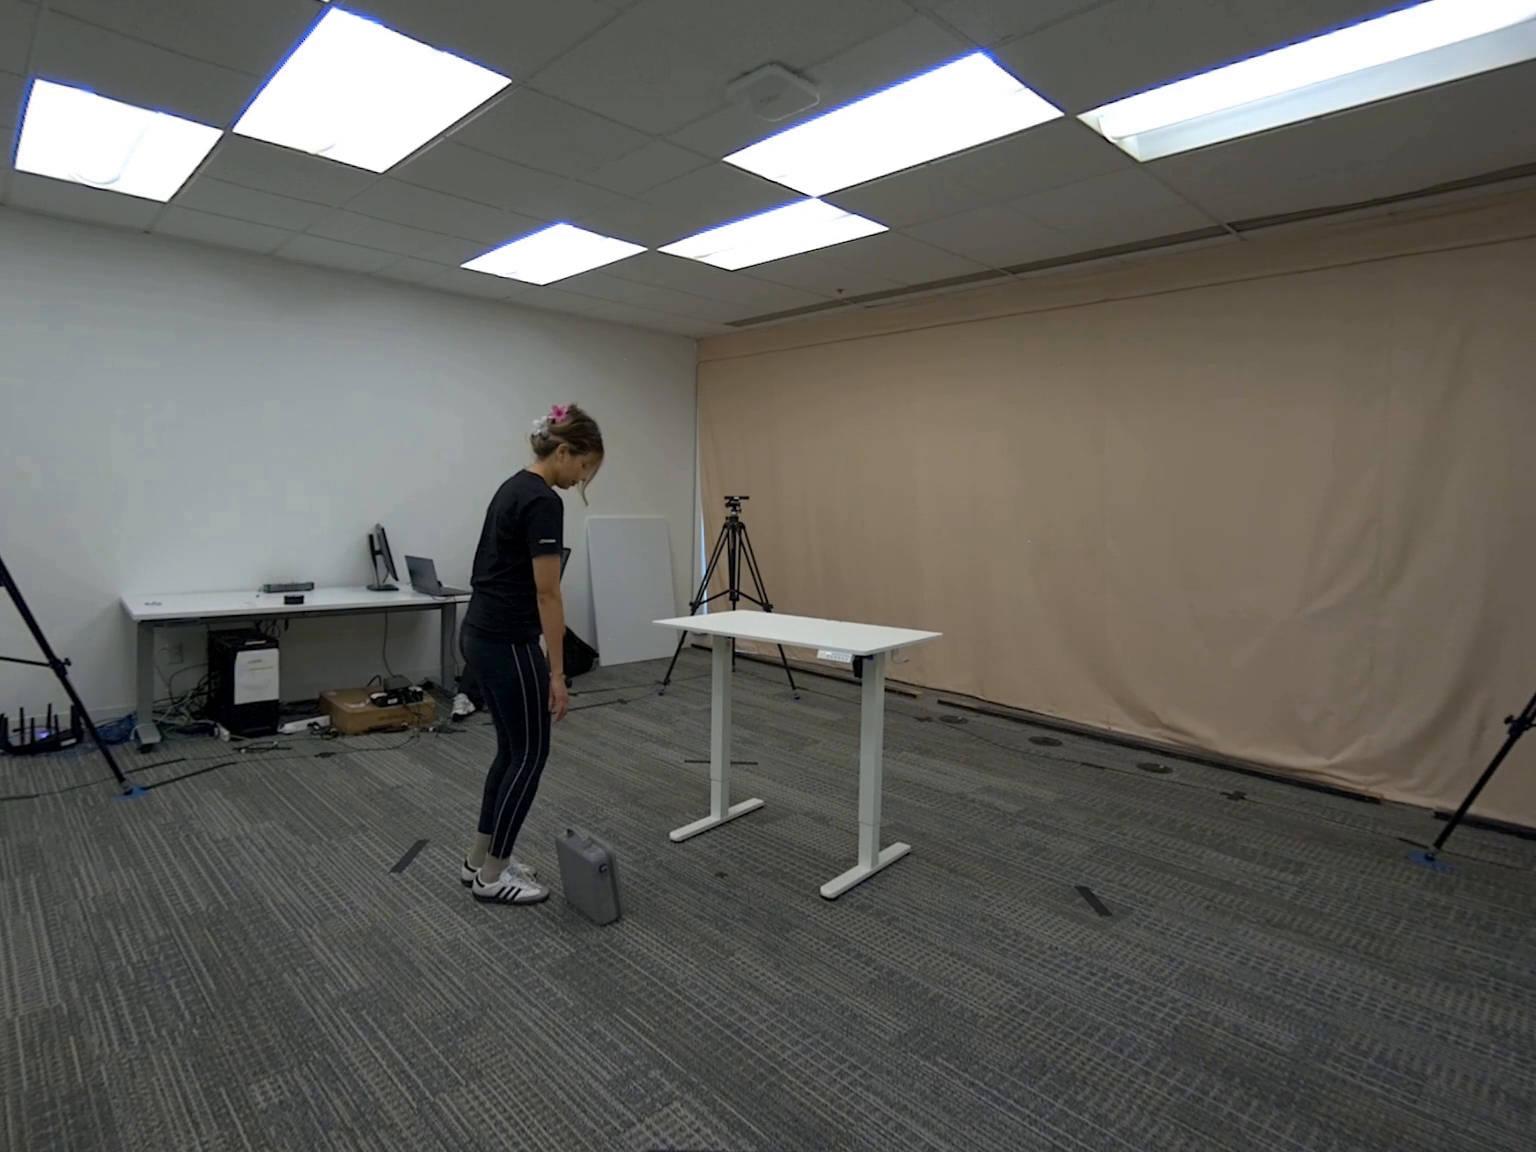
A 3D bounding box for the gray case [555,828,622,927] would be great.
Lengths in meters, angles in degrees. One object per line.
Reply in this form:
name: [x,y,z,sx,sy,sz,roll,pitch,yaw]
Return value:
gray case: [-0.600,0.993,2.793,0.102,0.258,0.263,-13,13,-39]
